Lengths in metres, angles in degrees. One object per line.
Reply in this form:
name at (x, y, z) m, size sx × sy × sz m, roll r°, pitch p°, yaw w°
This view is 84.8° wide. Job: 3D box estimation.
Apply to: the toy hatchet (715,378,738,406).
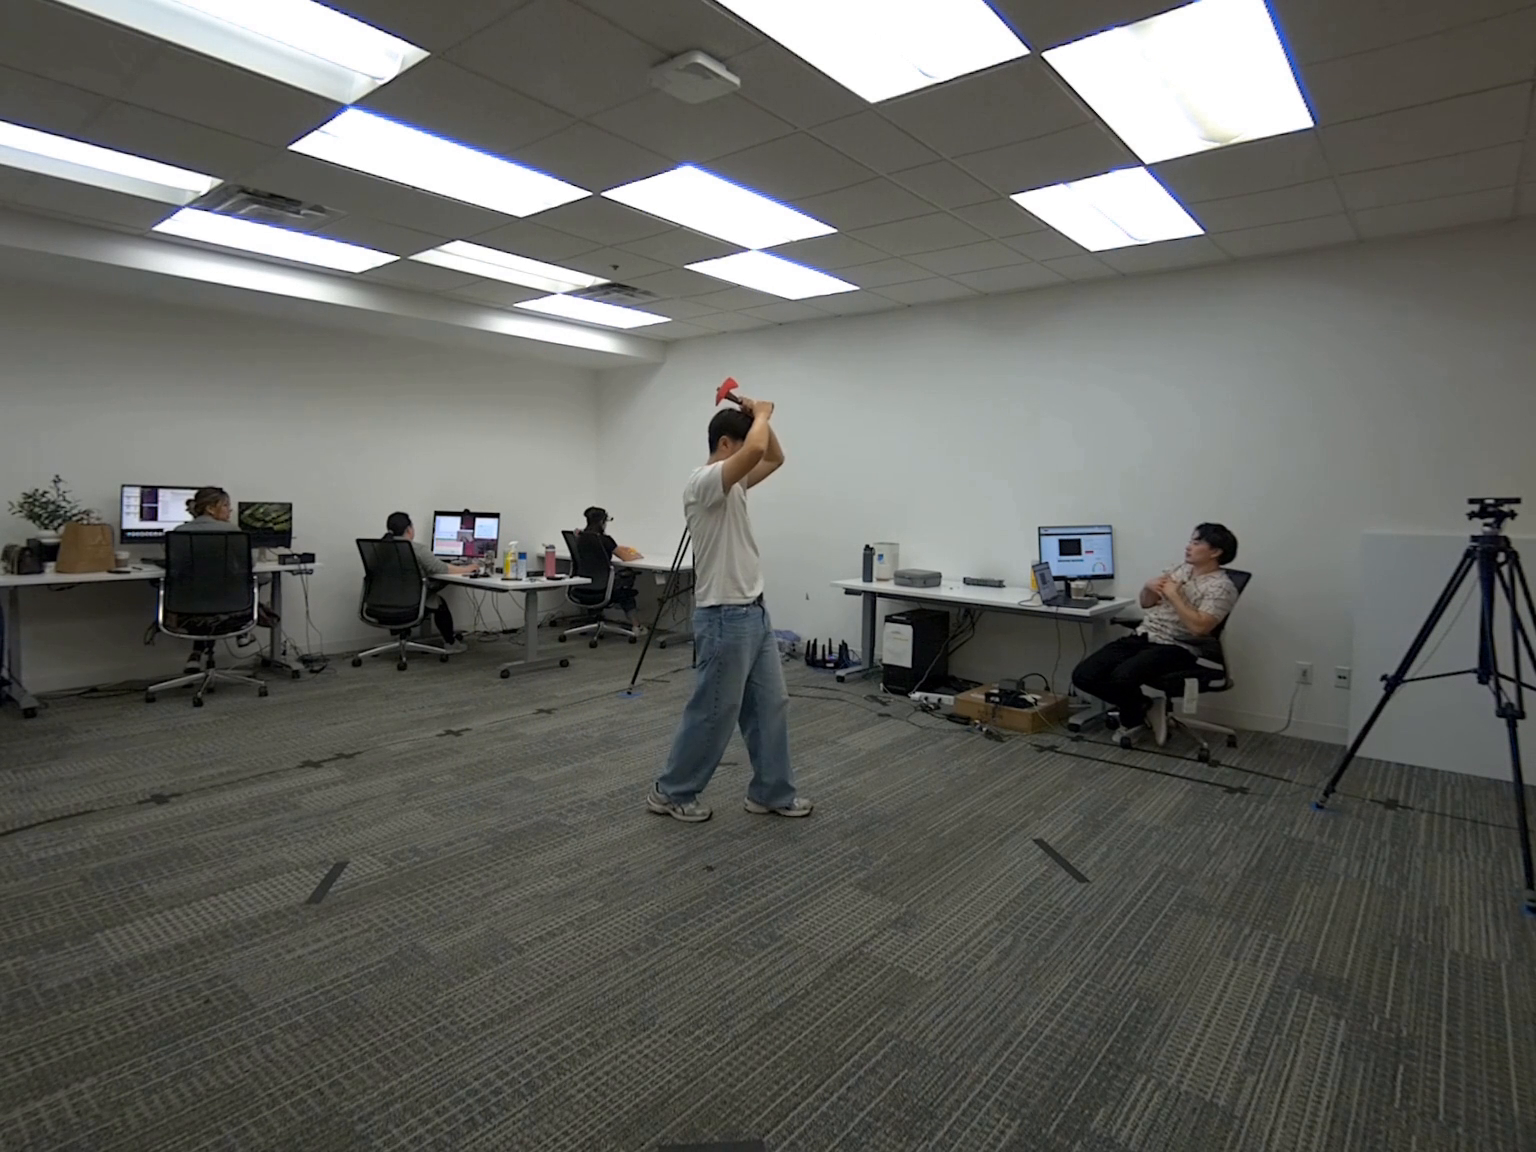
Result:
toy hatchet at (-0.106, -0.769, 3.565) m, size 0.277 × 0.131 × 0.029 m, roll 12°, pitch 4°, yaw 23°
